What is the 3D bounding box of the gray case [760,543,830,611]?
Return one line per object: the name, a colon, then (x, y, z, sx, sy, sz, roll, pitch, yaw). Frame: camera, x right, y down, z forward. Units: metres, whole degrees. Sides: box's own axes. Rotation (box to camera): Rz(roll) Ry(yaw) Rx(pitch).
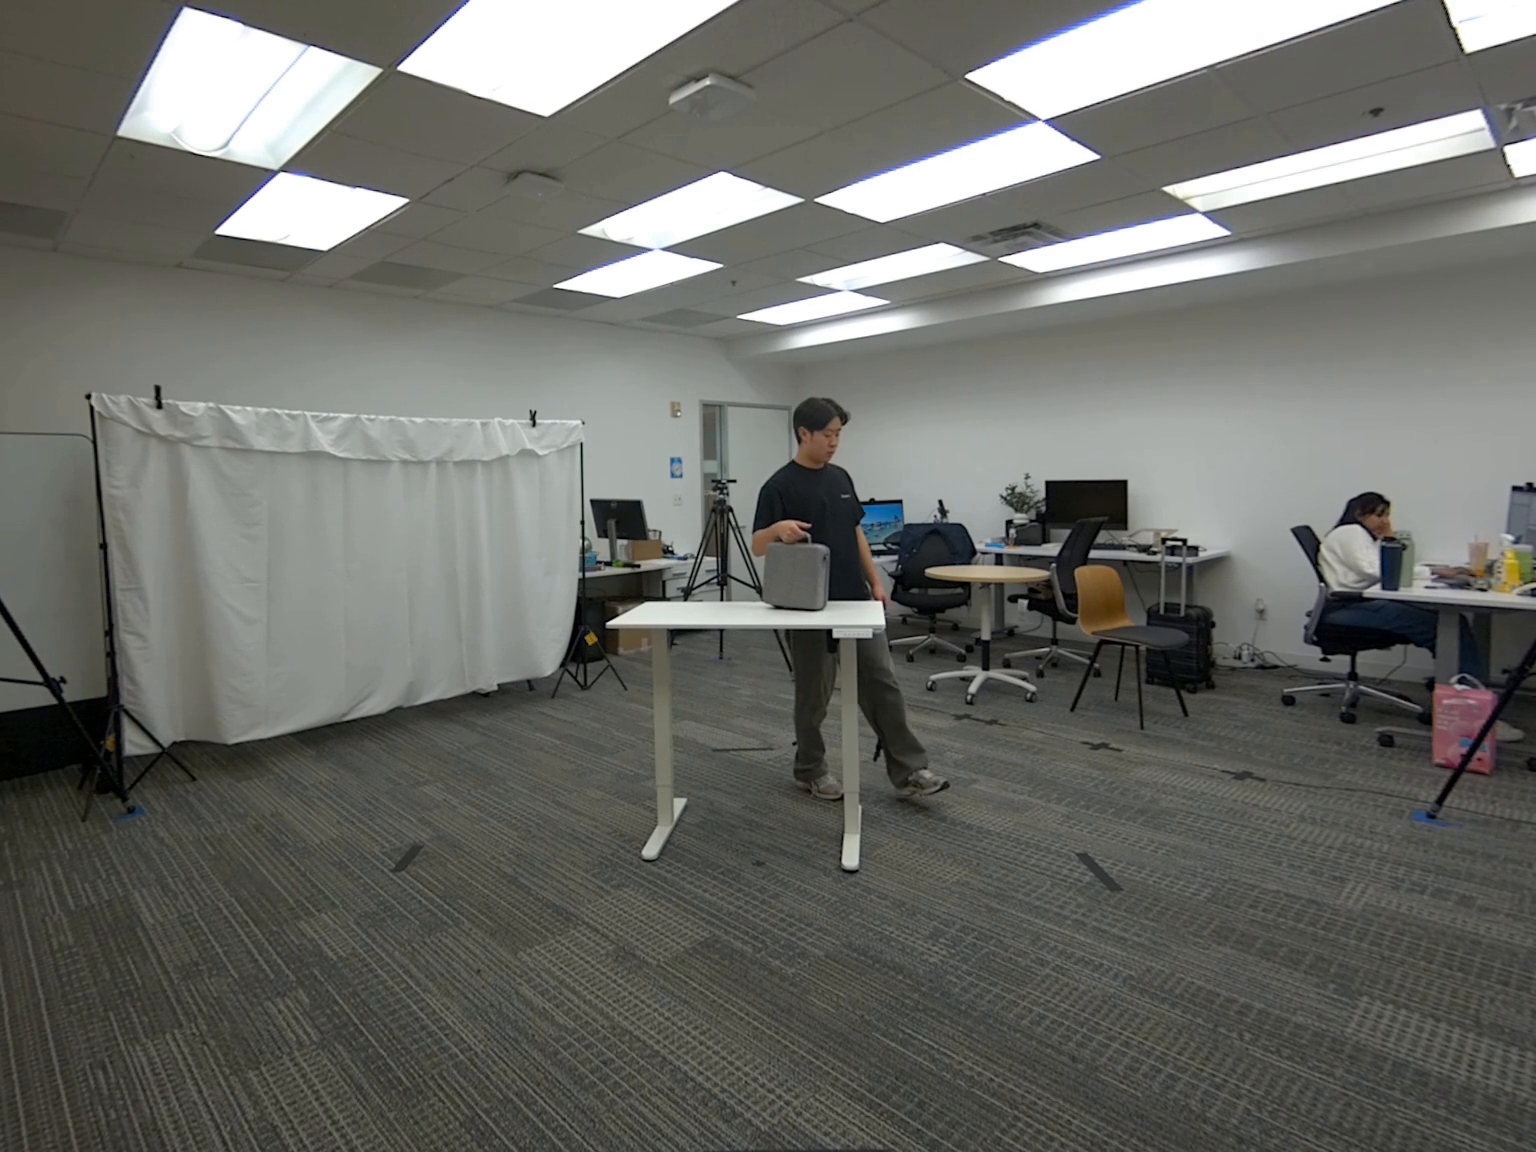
gray case: (0.112, -0.010, 3.363, 0.270, 0.287, 0.100, 3, 2, 30)
